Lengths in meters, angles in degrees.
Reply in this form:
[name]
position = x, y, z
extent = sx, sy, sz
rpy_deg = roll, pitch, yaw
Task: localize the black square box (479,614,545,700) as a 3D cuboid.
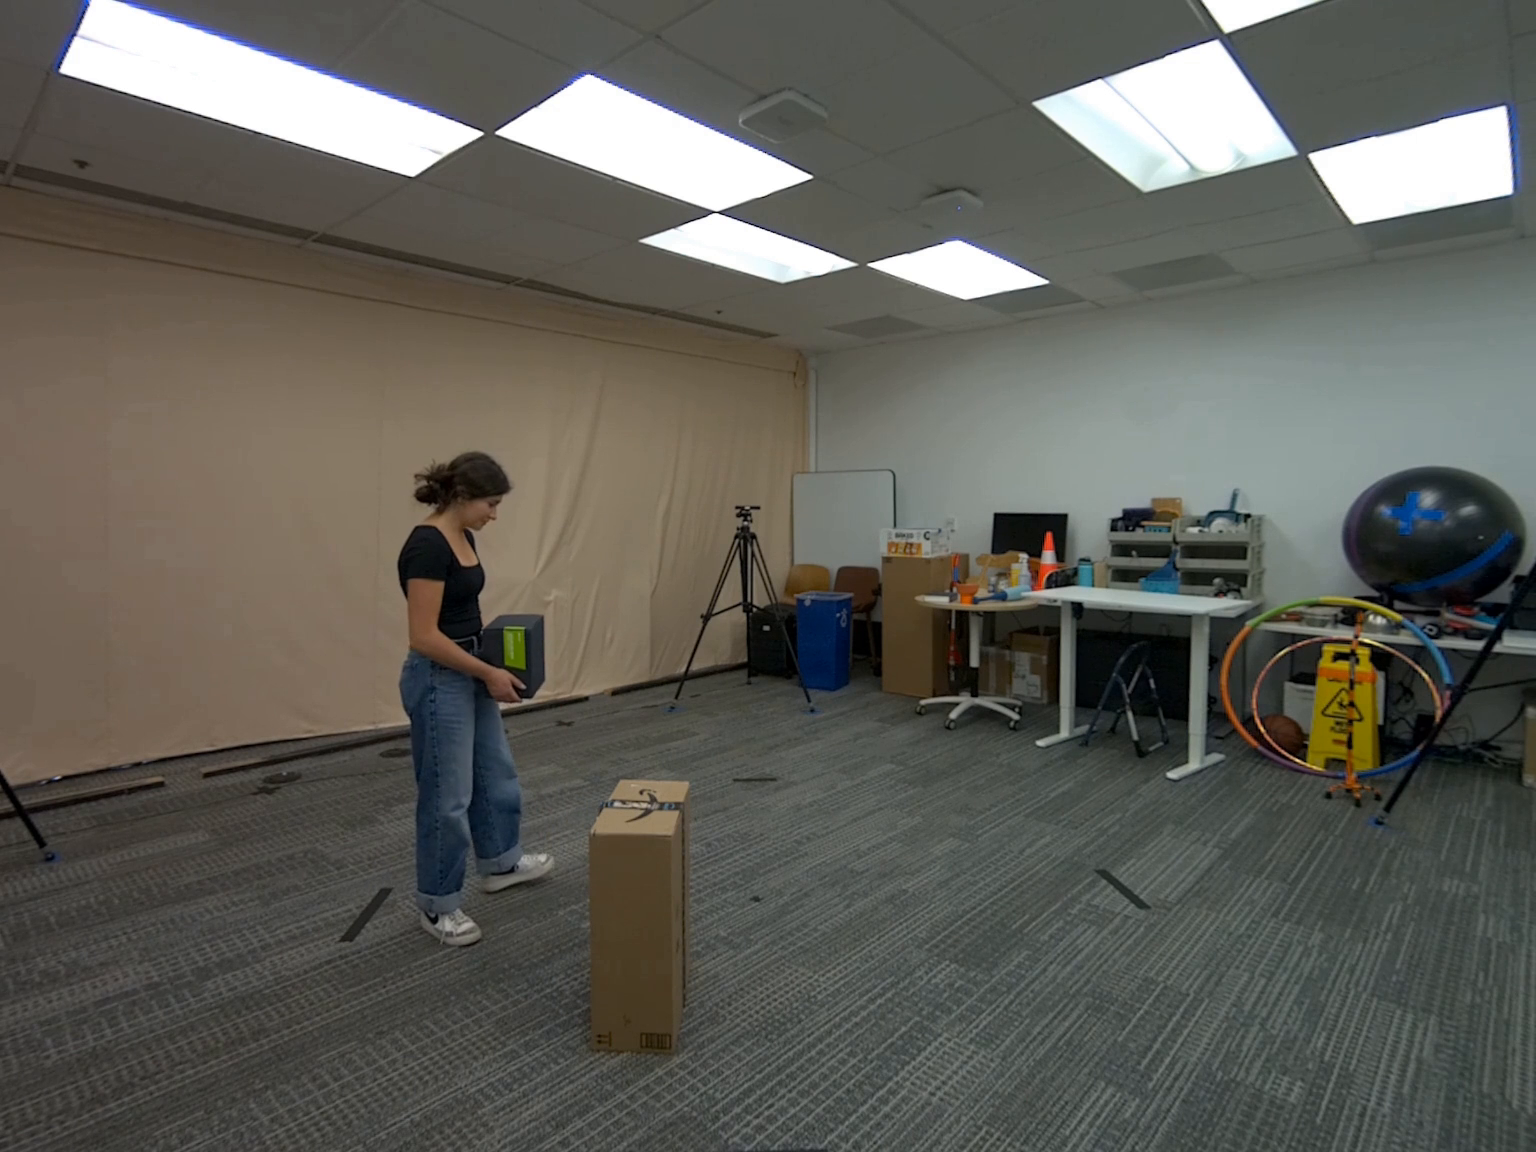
[black square box]
position = -0.839, 0.258, 2.759
extent = 0.155, 0.226, 0.219
rpy_deg = 0, 9, -5
